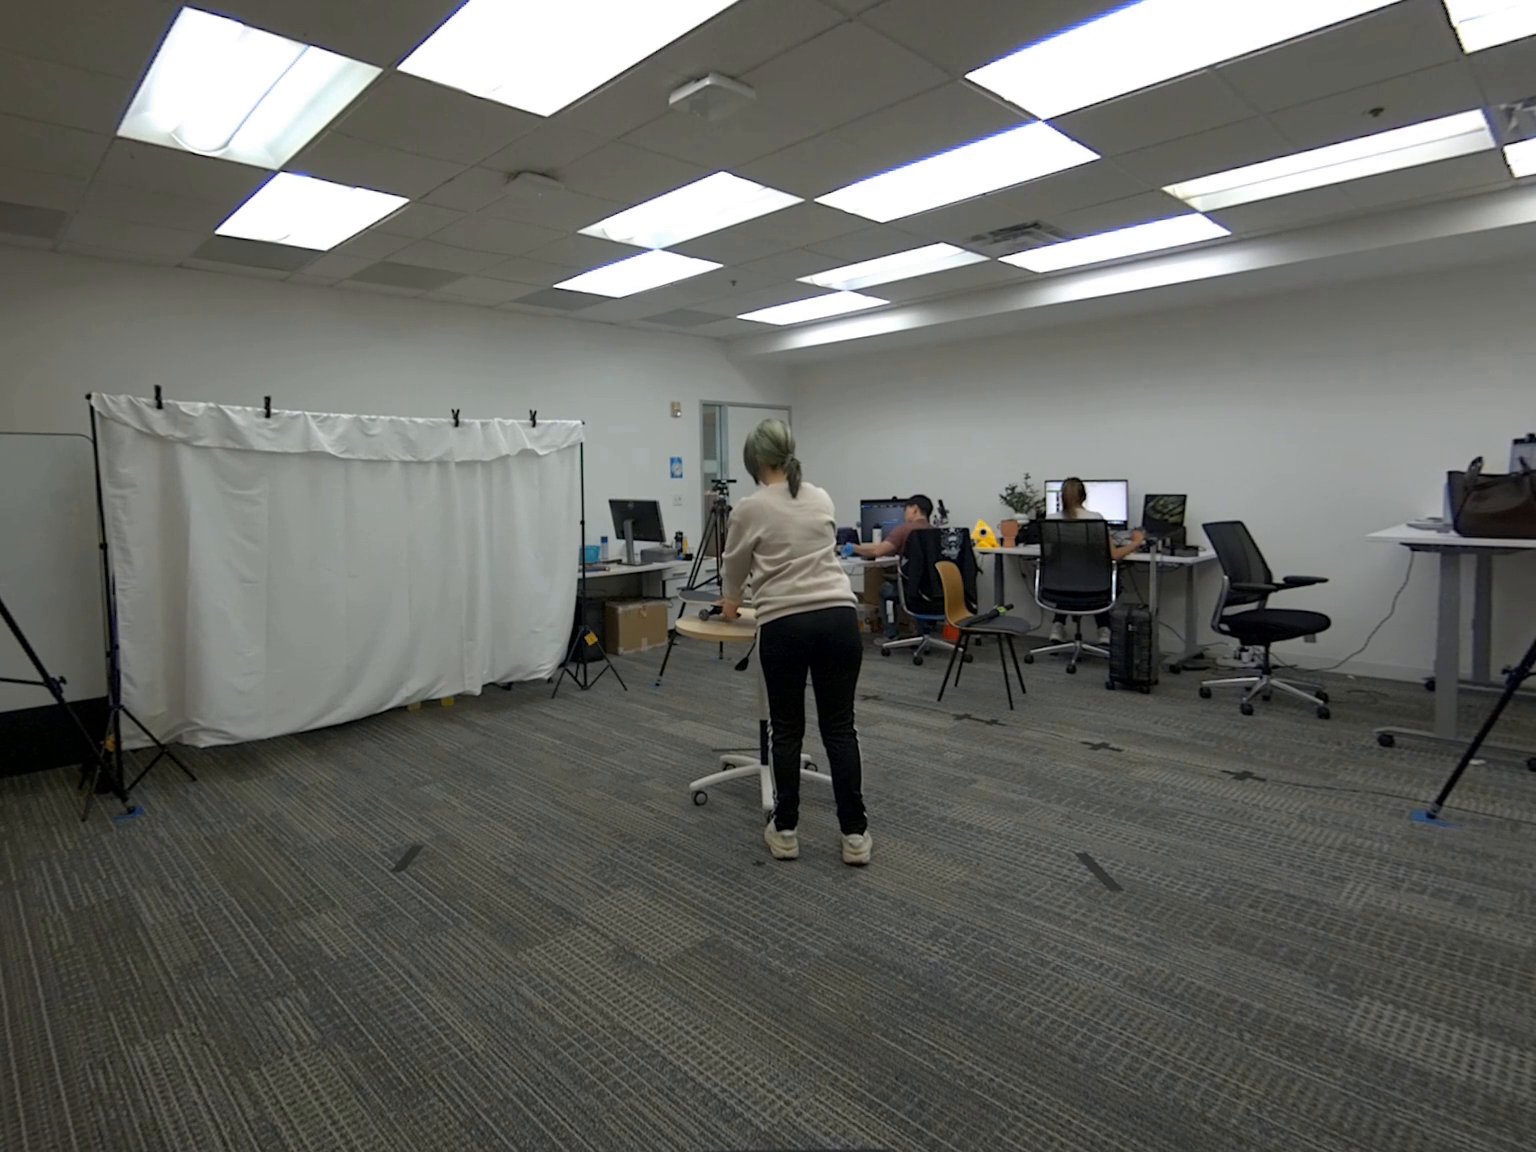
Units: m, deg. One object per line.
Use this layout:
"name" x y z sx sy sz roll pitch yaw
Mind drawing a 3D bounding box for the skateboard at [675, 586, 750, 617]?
"skateboard" -0.074 0.152 3.684 0.809 0.109 0.189 4 11 40
